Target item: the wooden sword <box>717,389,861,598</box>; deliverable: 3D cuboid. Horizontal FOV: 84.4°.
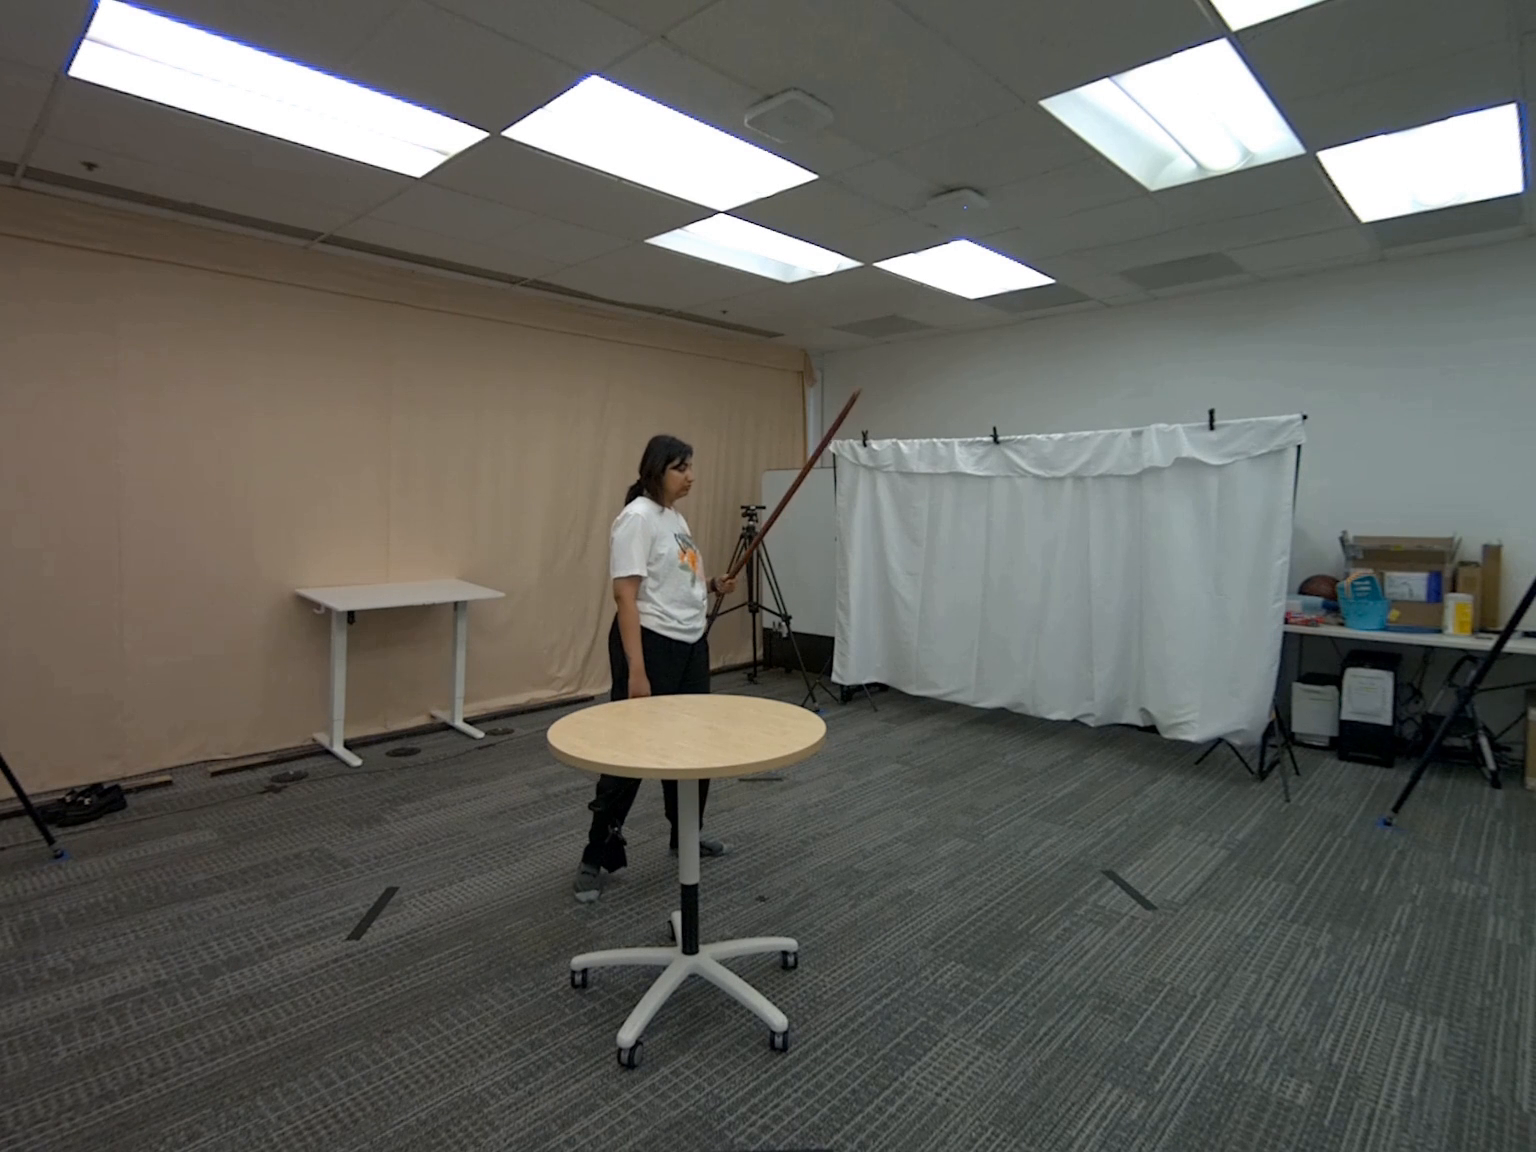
[{"bbox_3d":[0.063,-0.267,3.048,0.050,1.026,0.025,-1,46,-43],"label":"wooden sword"}]
